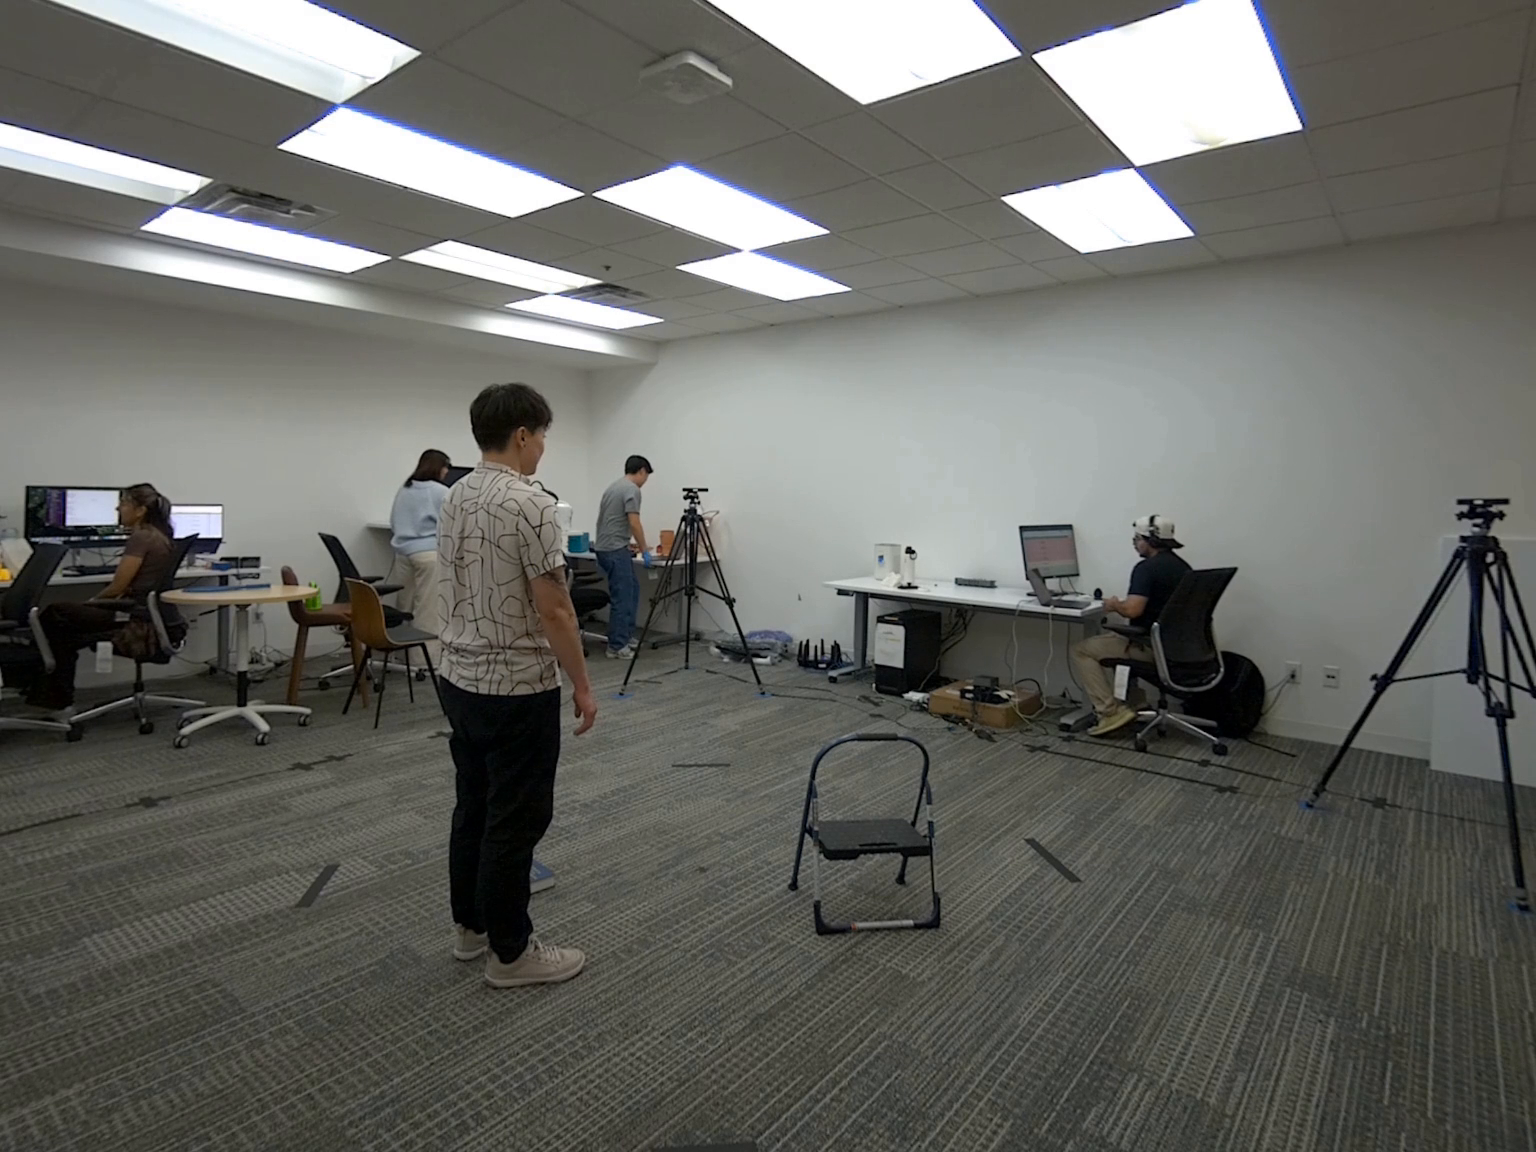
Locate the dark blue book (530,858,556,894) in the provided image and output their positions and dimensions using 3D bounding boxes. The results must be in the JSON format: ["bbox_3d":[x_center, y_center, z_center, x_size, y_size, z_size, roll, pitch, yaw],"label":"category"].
[{"bbox_3d":[-0.888,1.052,2.927,0.238,0.045,0.169,-4,7,-42],"label":"dark blue book"}]
